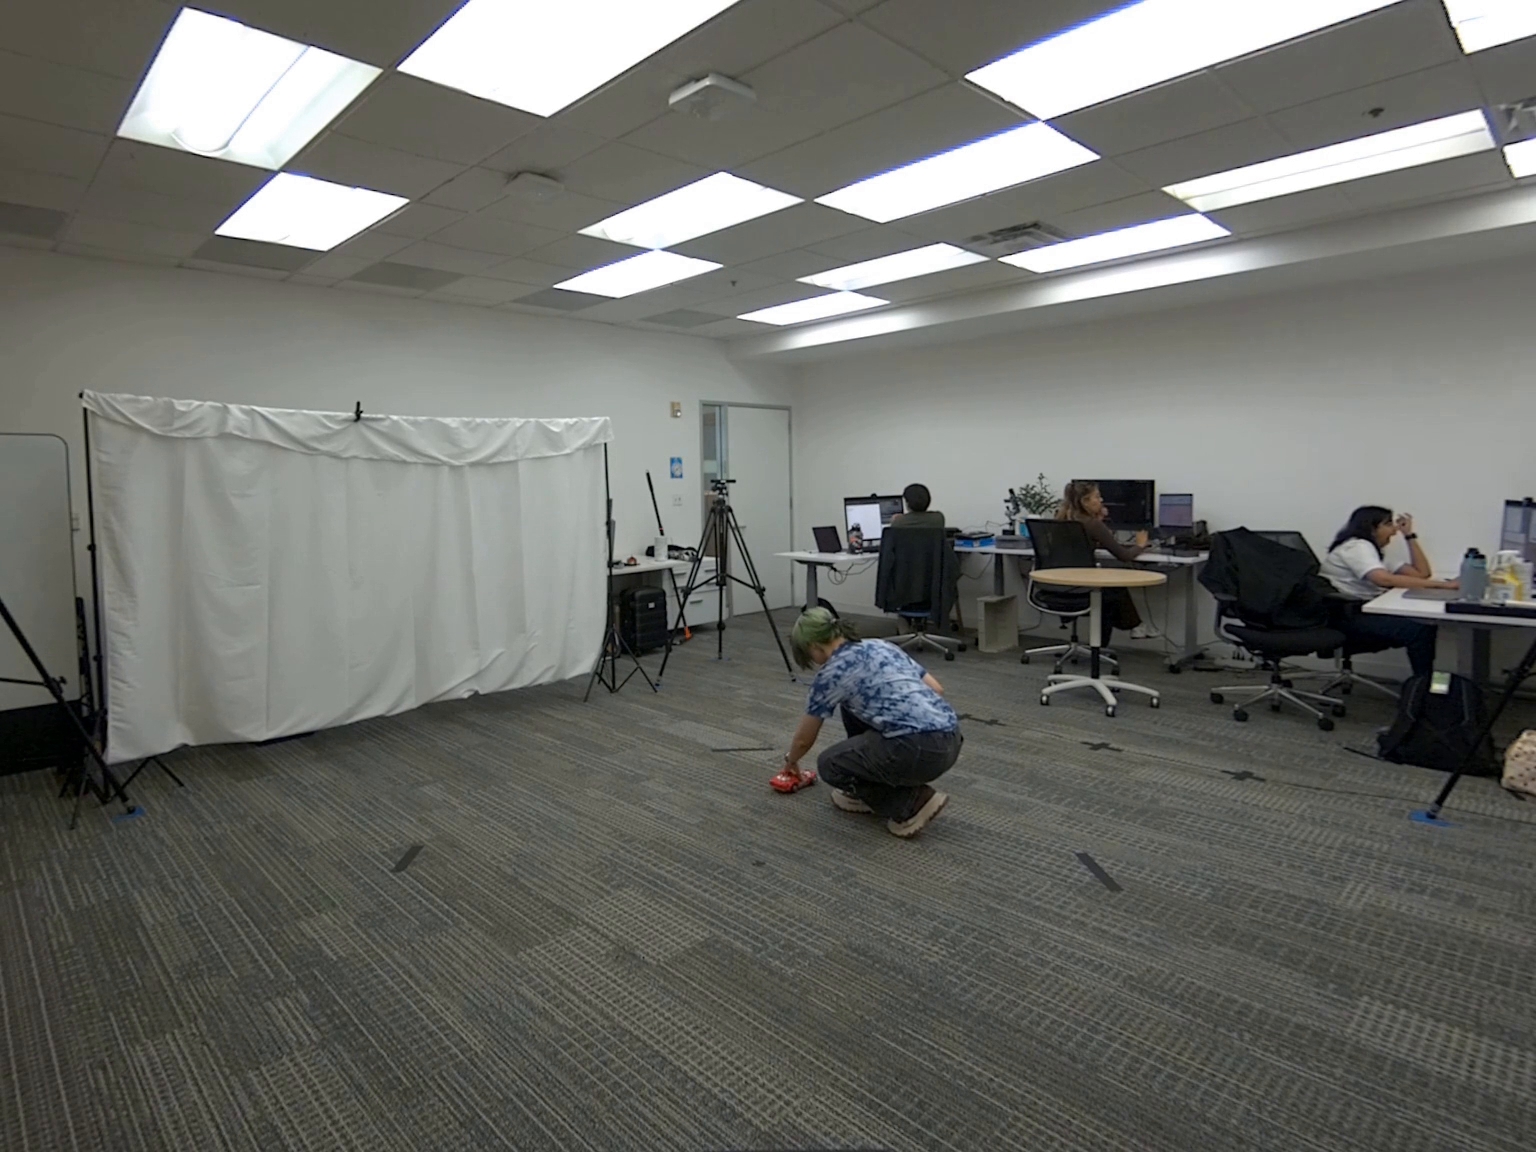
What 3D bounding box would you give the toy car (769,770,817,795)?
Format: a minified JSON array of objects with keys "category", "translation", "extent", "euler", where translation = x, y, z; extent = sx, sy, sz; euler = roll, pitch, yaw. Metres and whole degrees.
[{"category":"toy car","translation":[0.109,0.930,3.868],"extent":[0.246,0.083,0.134],"euler":[8,-2,-45]}]
